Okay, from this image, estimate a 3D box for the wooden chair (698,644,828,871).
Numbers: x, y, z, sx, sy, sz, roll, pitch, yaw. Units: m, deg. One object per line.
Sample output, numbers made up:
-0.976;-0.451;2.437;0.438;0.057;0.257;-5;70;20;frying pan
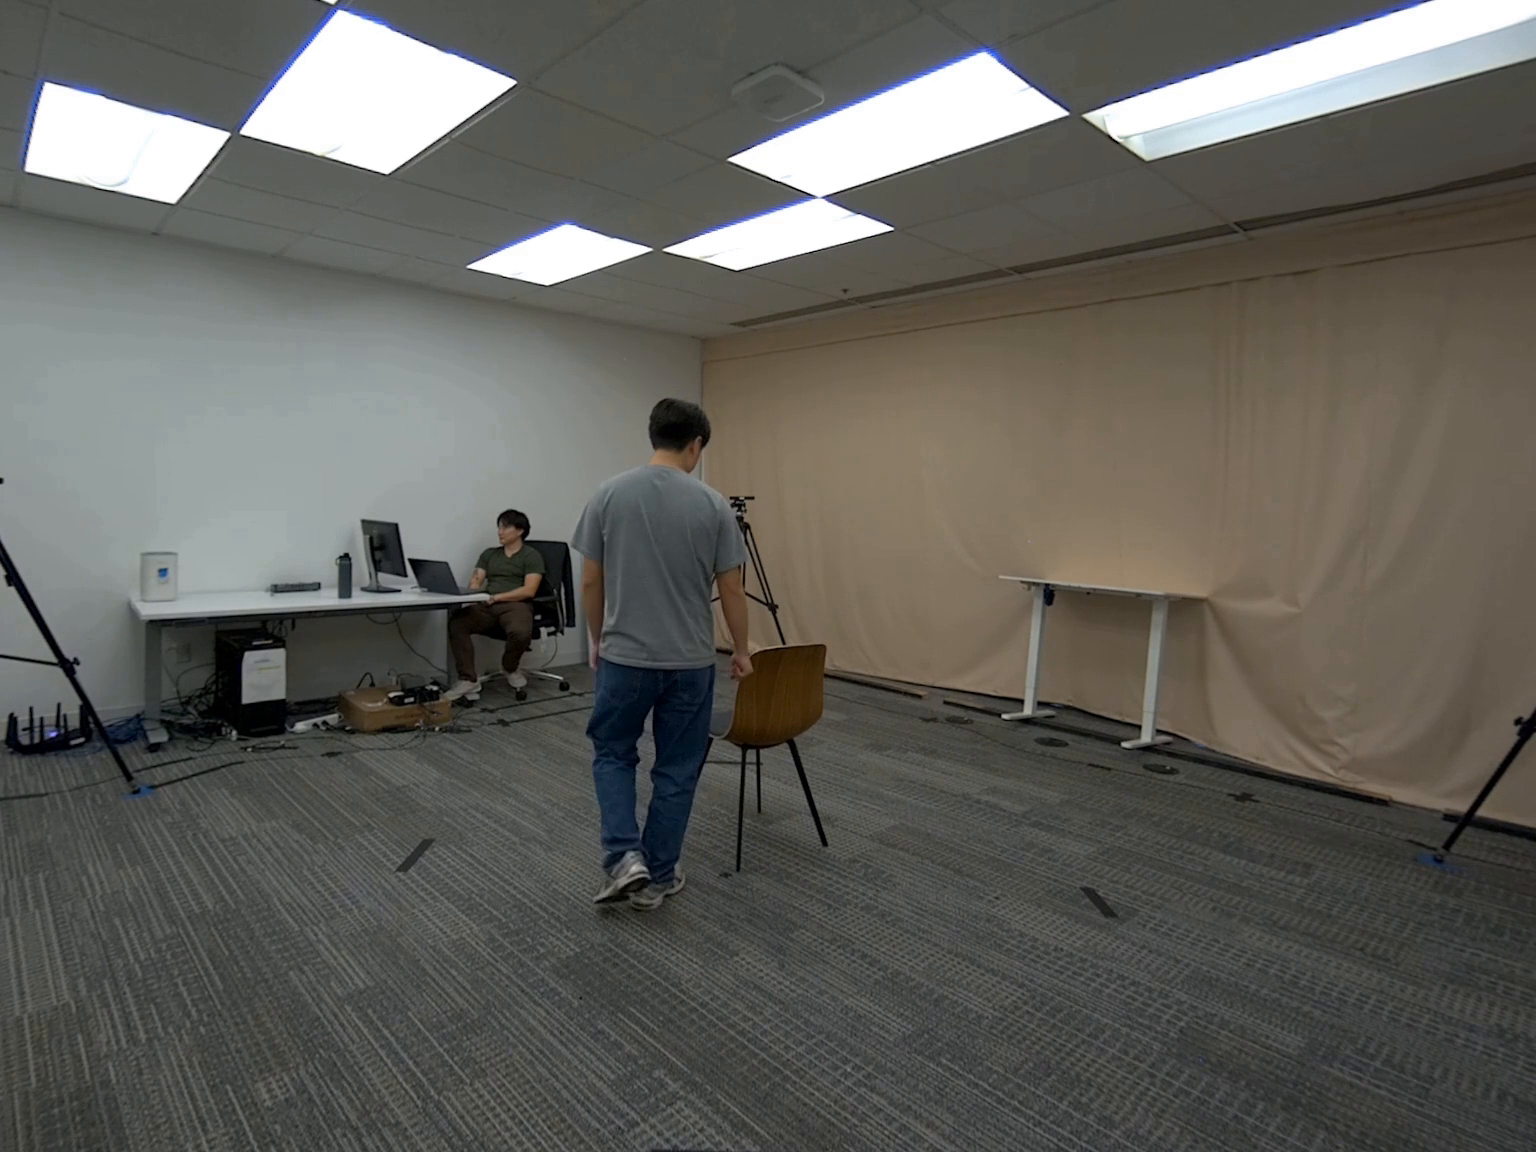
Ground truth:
-0.074;0.652;3.418;0.467;0.873;0.537;-1;8;-37;wooden chair
